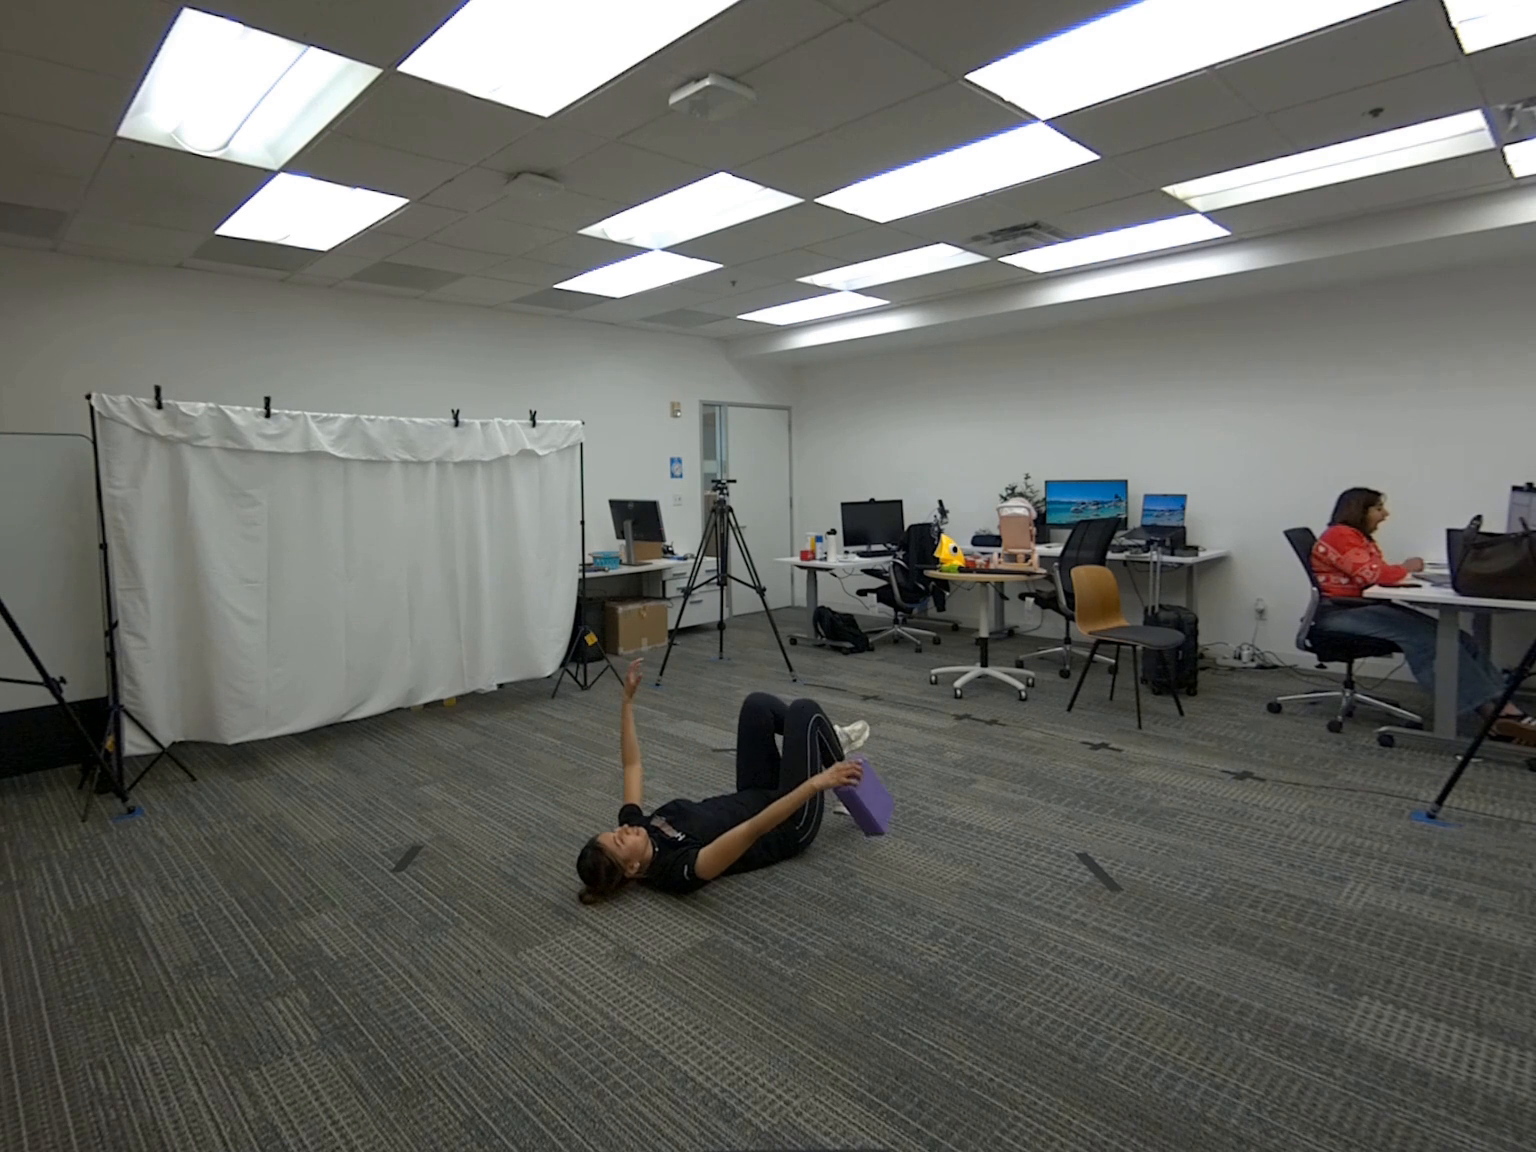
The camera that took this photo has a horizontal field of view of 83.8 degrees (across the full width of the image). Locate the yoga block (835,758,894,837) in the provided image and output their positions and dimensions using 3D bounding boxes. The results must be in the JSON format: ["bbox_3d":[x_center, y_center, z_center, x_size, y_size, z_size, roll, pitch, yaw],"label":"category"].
[{"bbox_3d":[0.308,0.716,2.829,0.078,0.224,0.149,-19,22,37],"label":"yoga block"}]
